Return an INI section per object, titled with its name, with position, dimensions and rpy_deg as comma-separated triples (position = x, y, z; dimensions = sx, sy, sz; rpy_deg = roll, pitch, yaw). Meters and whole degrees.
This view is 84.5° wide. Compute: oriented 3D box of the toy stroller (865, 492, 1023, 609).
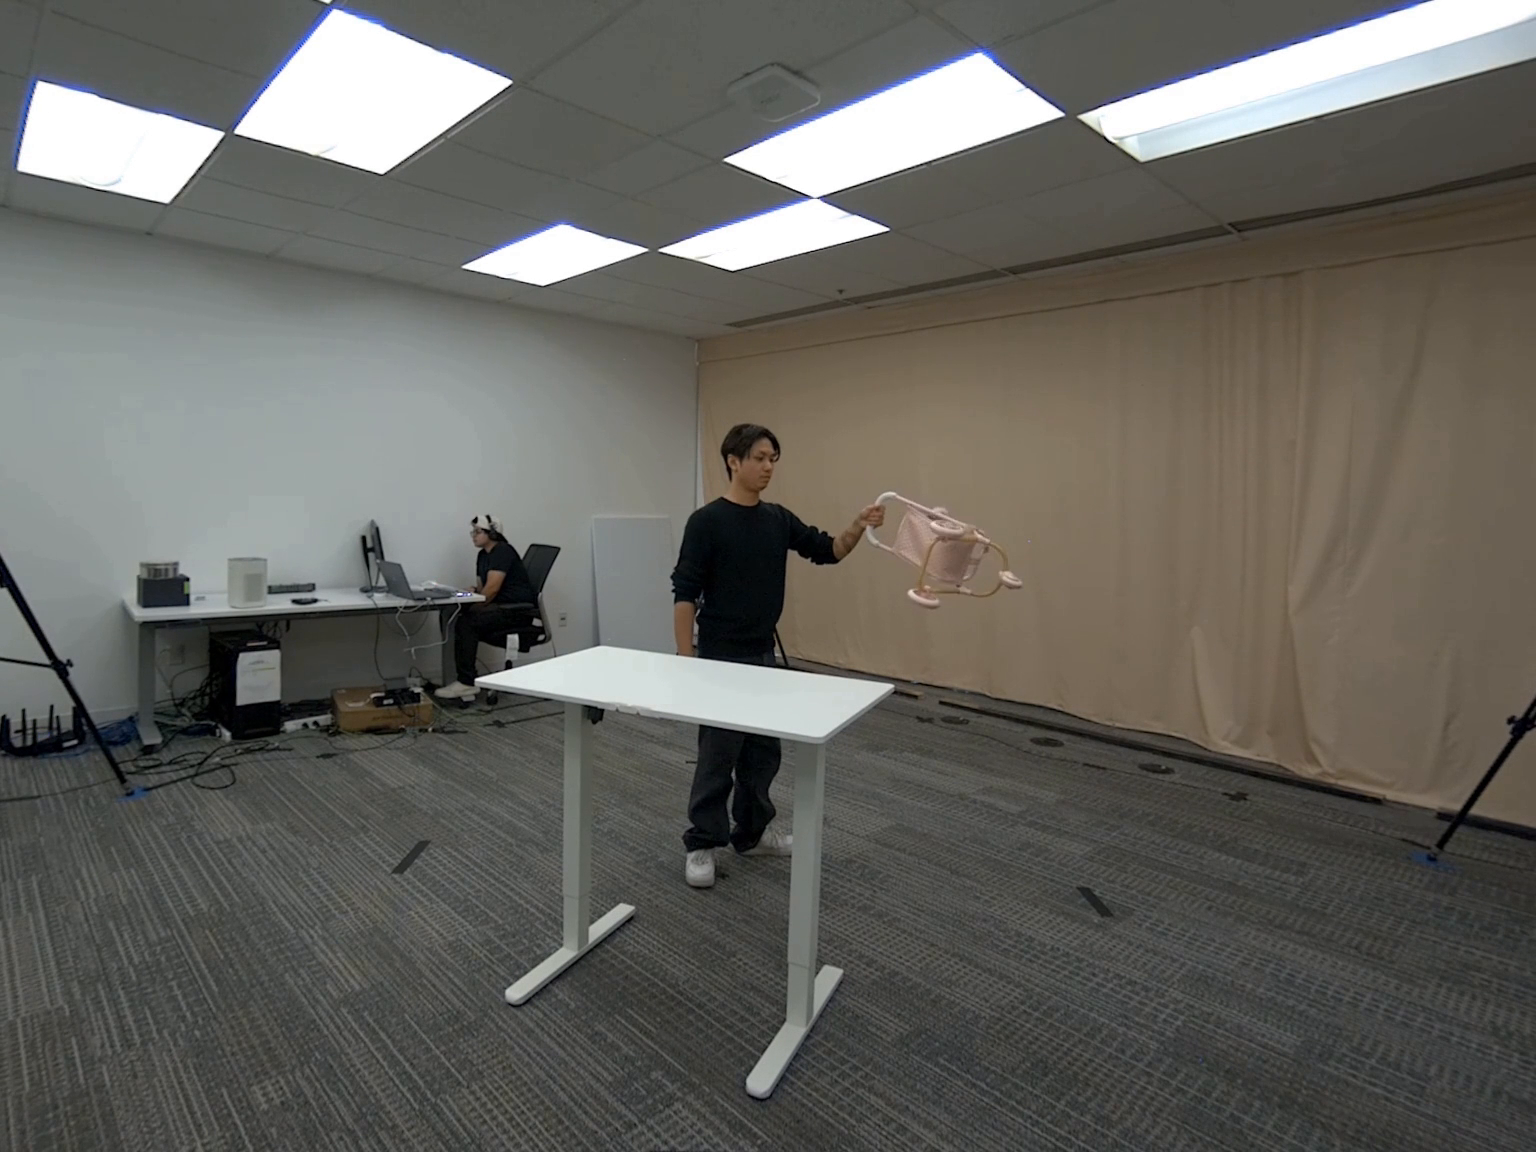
[toy stroller]
position = 0.597, -0.095, 2.899
dimensions = 0.336, 0.278, 0.548
rpy_deg = 7, 21, -18
